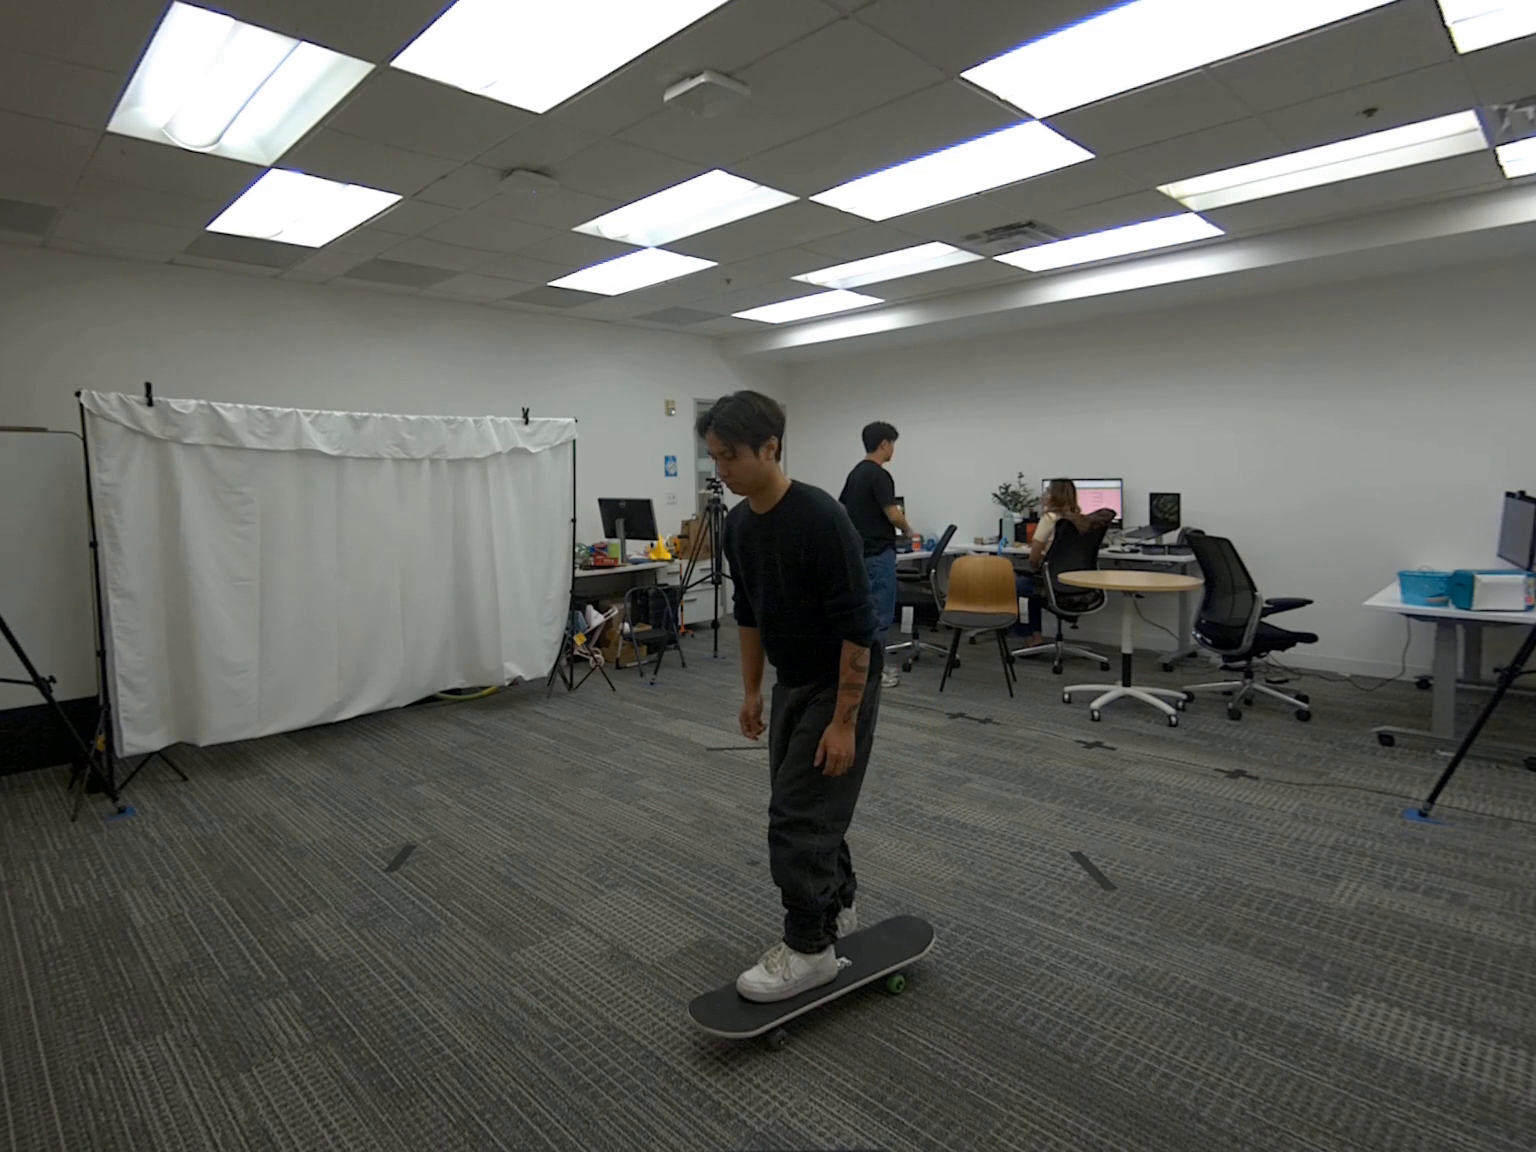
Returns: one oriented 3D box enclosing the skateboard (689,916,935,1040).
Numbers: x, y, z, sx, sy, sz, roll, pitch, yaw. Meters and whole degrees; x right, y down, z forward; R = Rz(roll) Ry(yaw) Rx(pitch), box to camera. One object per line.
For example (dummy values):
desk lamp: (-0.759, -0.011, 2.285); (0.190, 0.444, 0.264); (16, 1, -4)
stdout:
skateboard: (0.146, 1.084, 2.263); (0.766, 0.110, 0.199); (-6, 8, -34)
